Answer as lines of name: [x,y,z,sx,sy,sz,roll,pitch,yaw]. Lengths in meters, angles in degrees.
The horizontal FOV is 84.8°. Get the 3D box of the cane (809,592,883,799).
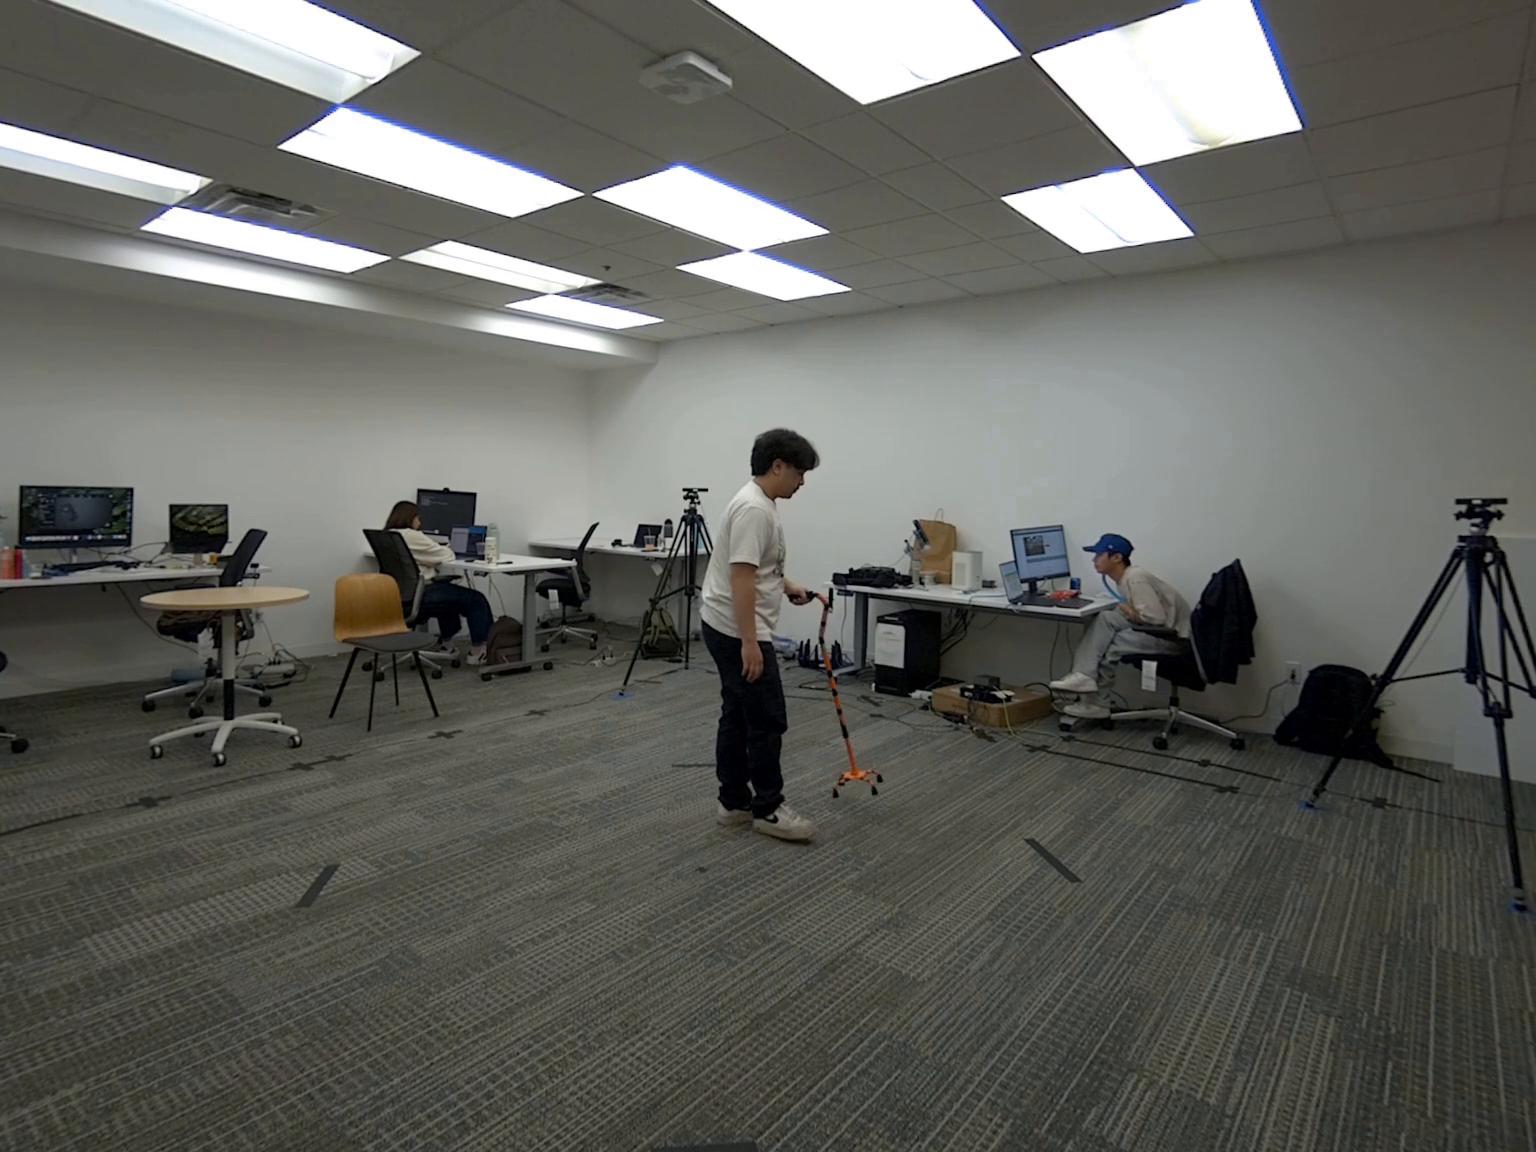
cane: [0.271,0.520,3.728,0.210,0.902,0.150,-11,6,20]
